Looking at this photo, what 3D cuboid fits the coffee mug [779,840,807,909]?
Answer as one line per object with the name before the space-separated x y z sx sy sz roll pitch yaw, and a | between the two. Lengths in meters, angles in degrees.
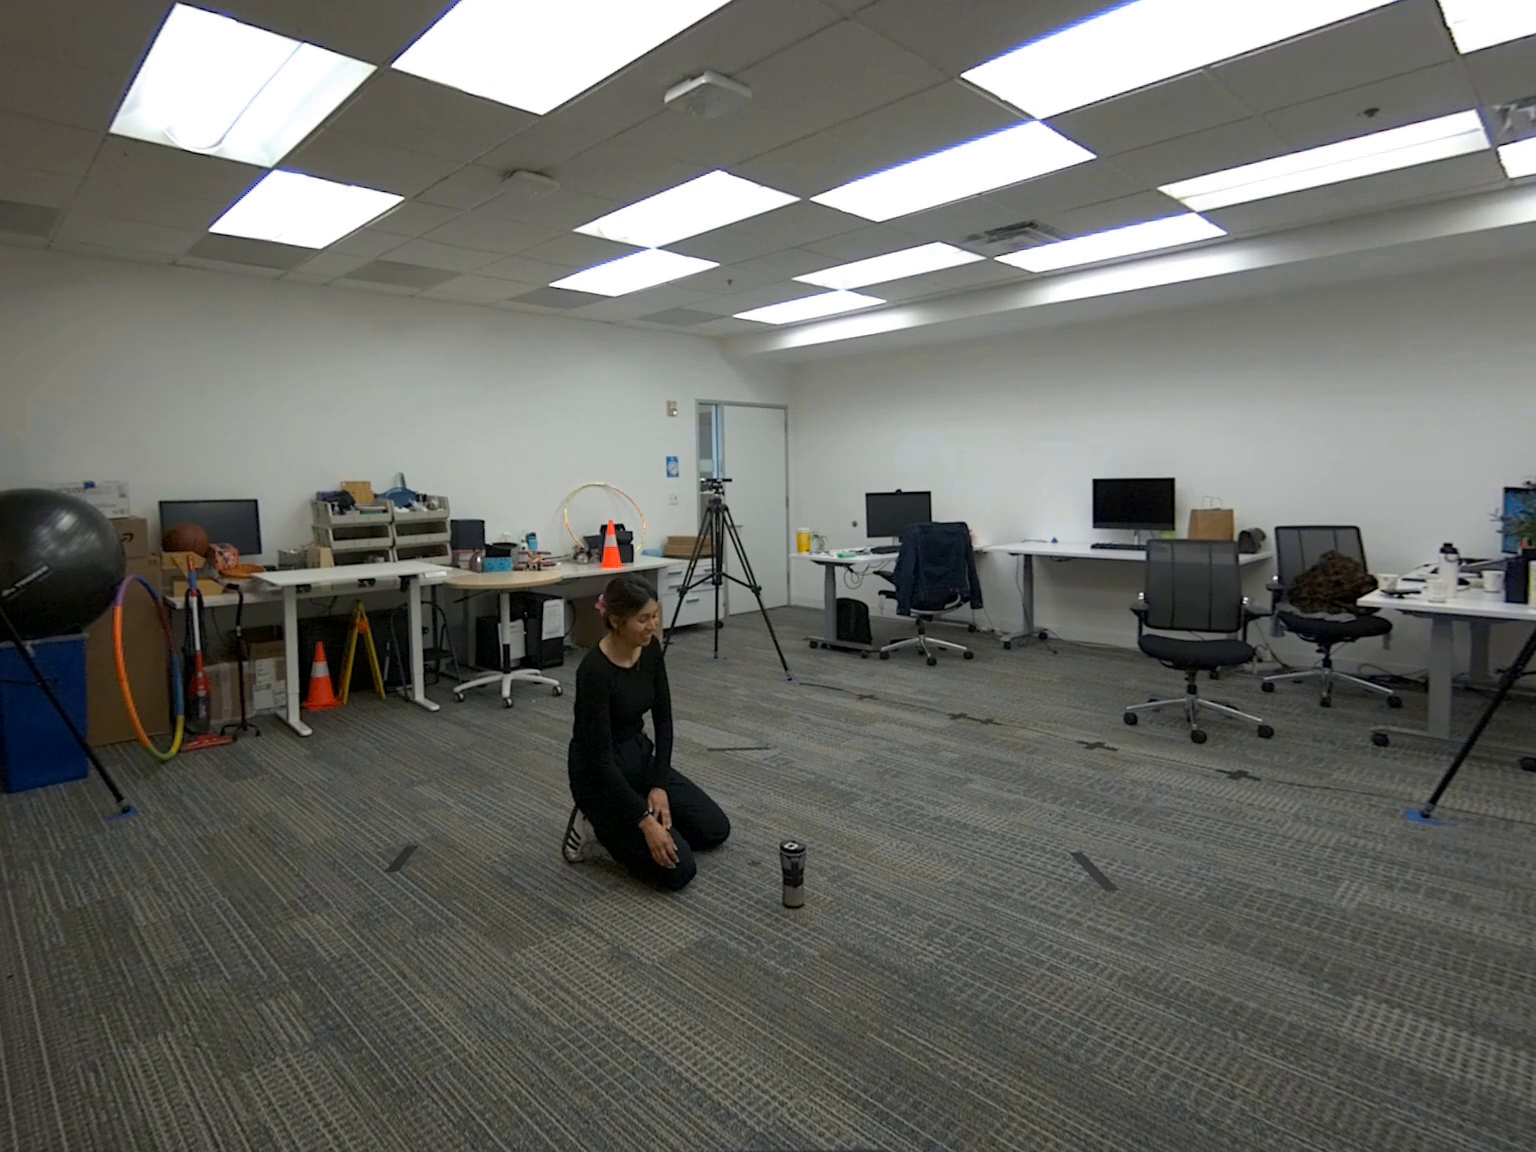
coffee mug | 0.075 0.977 2.776 0.090 0.202 0.119 4 3 23
